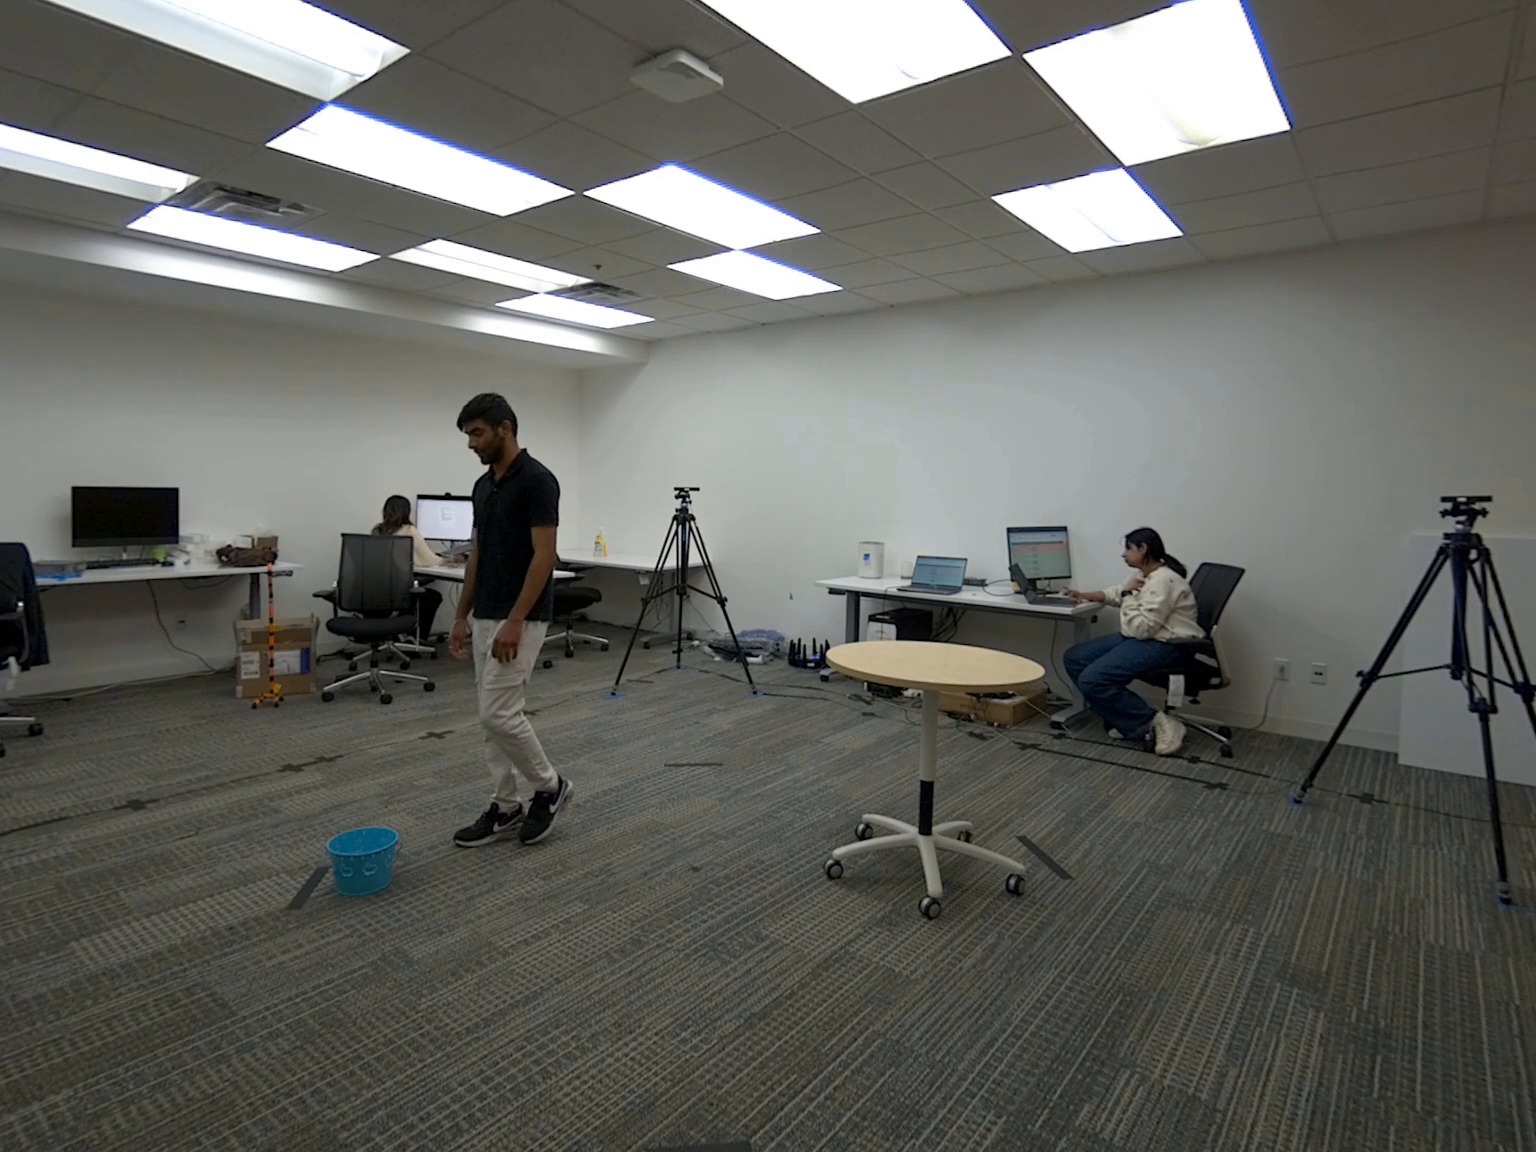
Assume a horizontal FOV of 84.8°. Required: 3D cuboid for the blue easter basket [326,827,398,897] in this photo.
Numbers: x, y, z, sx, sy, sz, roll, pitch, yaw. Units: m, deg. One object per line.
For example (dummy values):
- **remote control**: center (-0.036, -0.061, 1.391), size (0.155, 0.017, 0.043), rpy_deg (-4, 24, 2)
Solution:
- **blue easter basket**: center (-1.417, 0.990, 2.961), size (0.243, 0.155, 0.245), rpy_deg (1, 6, -2)
